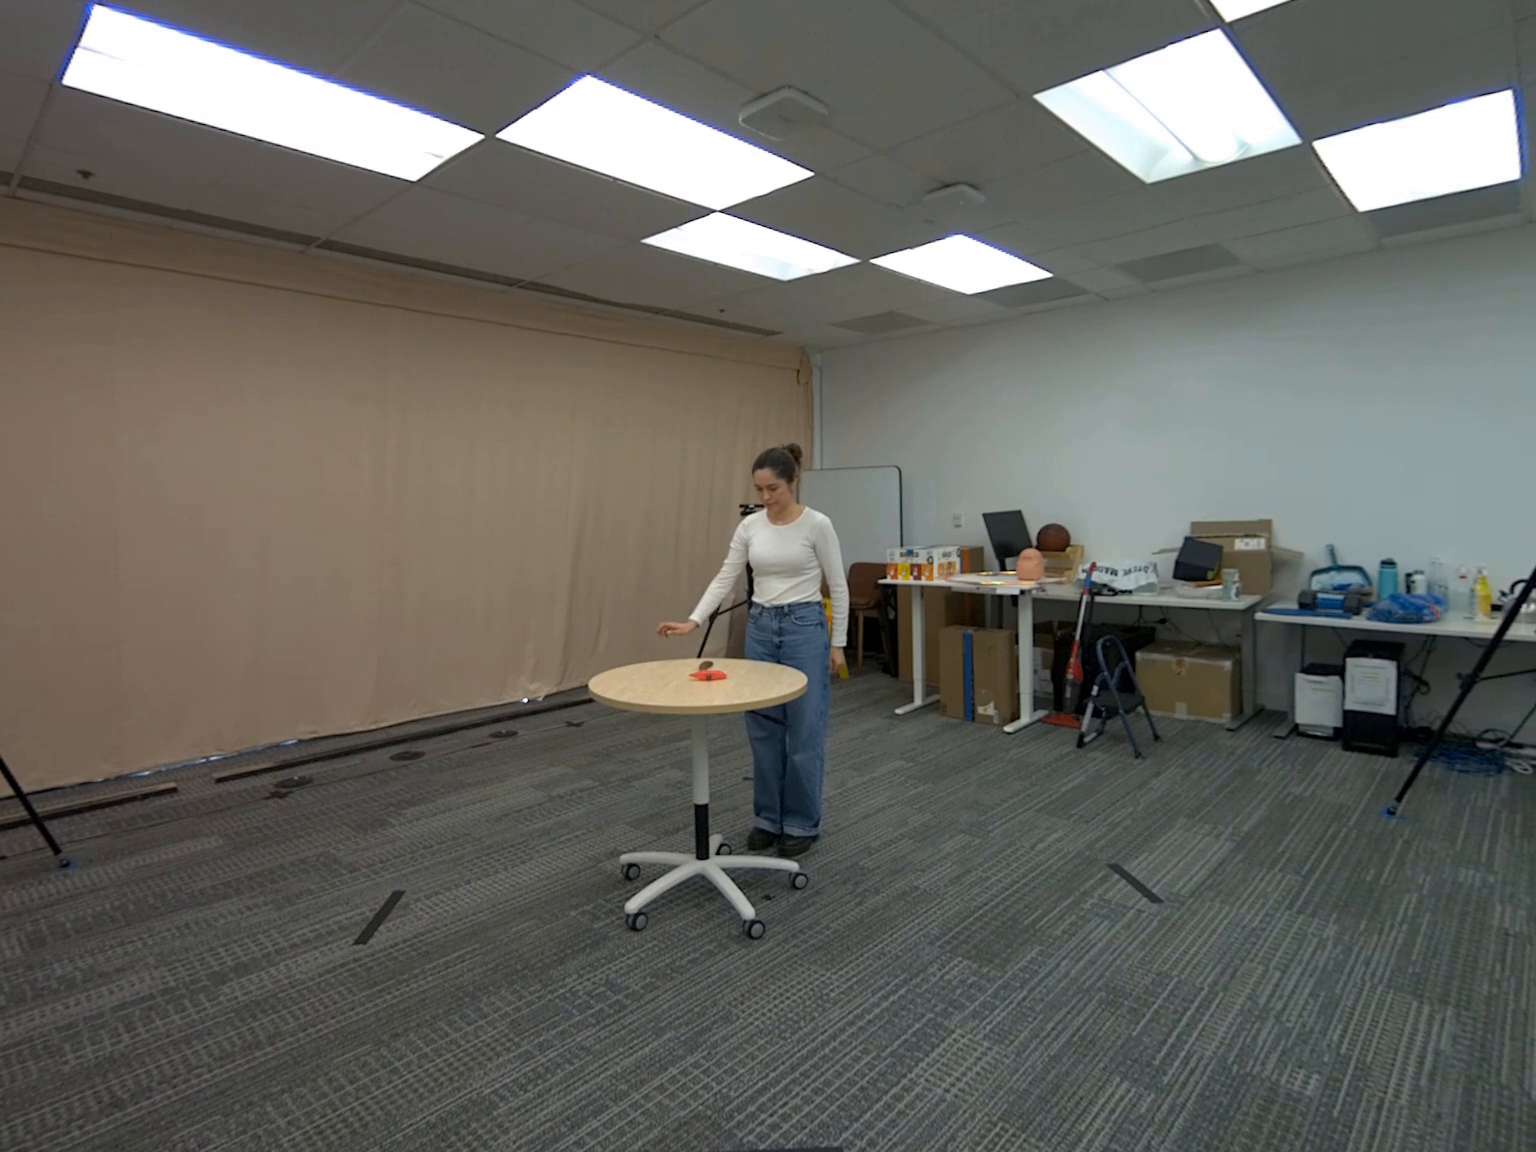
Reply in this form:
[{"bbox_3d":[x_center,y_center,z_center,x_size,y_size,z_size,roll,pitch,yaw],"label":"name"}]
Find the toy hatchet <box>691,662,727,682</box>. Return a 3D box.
[{"bbox_3d":[-0.200,0.341,3.047,0.132,0.029,0.268,0,5,7],"label":"toy hatchet"}]
